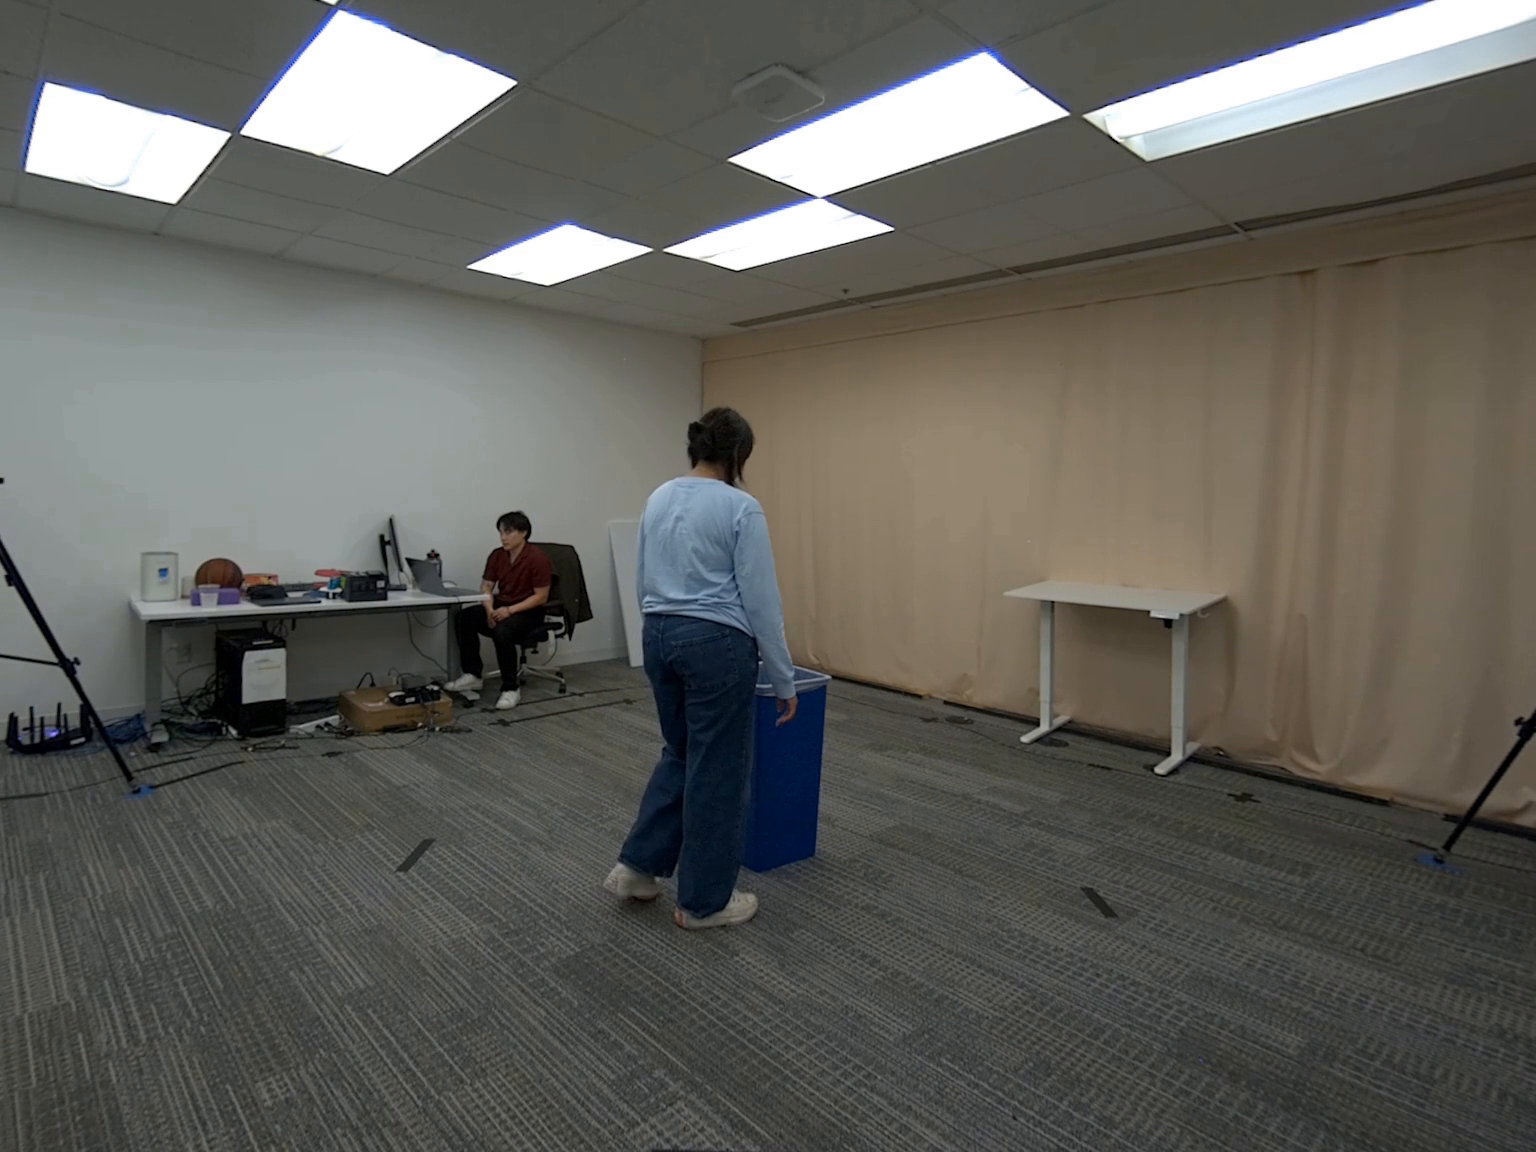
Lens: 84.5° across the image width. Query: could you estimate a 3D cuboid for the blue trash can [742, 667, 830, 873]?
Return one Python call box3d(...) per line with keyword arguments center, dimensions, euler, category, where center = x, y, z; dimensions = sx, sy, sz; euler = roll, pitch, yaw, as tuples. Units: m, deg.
box3d(center=(-0.011, 0.733, 3.307), dimensions=(0.369, 0.712, 0.383), euler=(-1, 4, -38), category="blue trash can")
